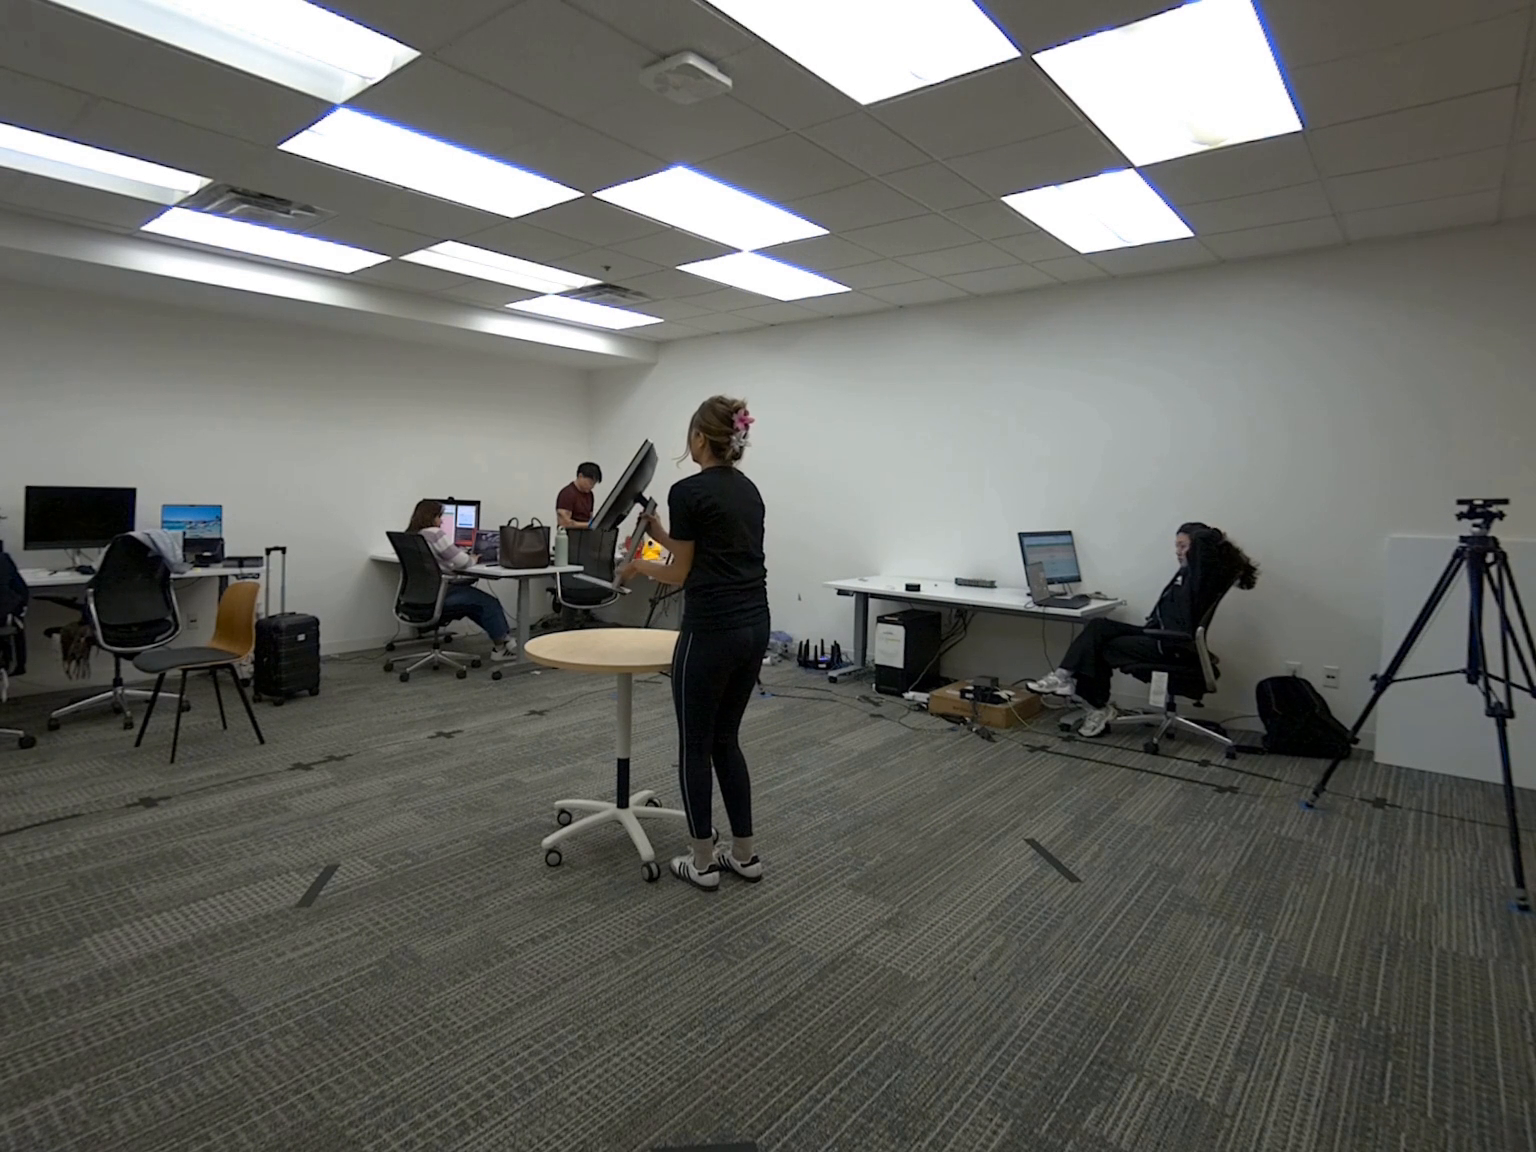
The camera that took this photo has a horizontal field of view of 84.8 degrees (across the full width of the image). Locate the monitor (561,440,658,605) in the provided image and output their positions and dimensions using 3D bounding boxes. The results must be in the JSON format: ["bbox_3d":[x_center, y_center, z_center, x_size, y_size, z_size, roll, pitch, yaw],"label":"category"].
[{"bbox_3d":[-0.537,-0.216,3.166,0.186,0.523,0.542,20,-2,-7],"label":"monitor"}]
